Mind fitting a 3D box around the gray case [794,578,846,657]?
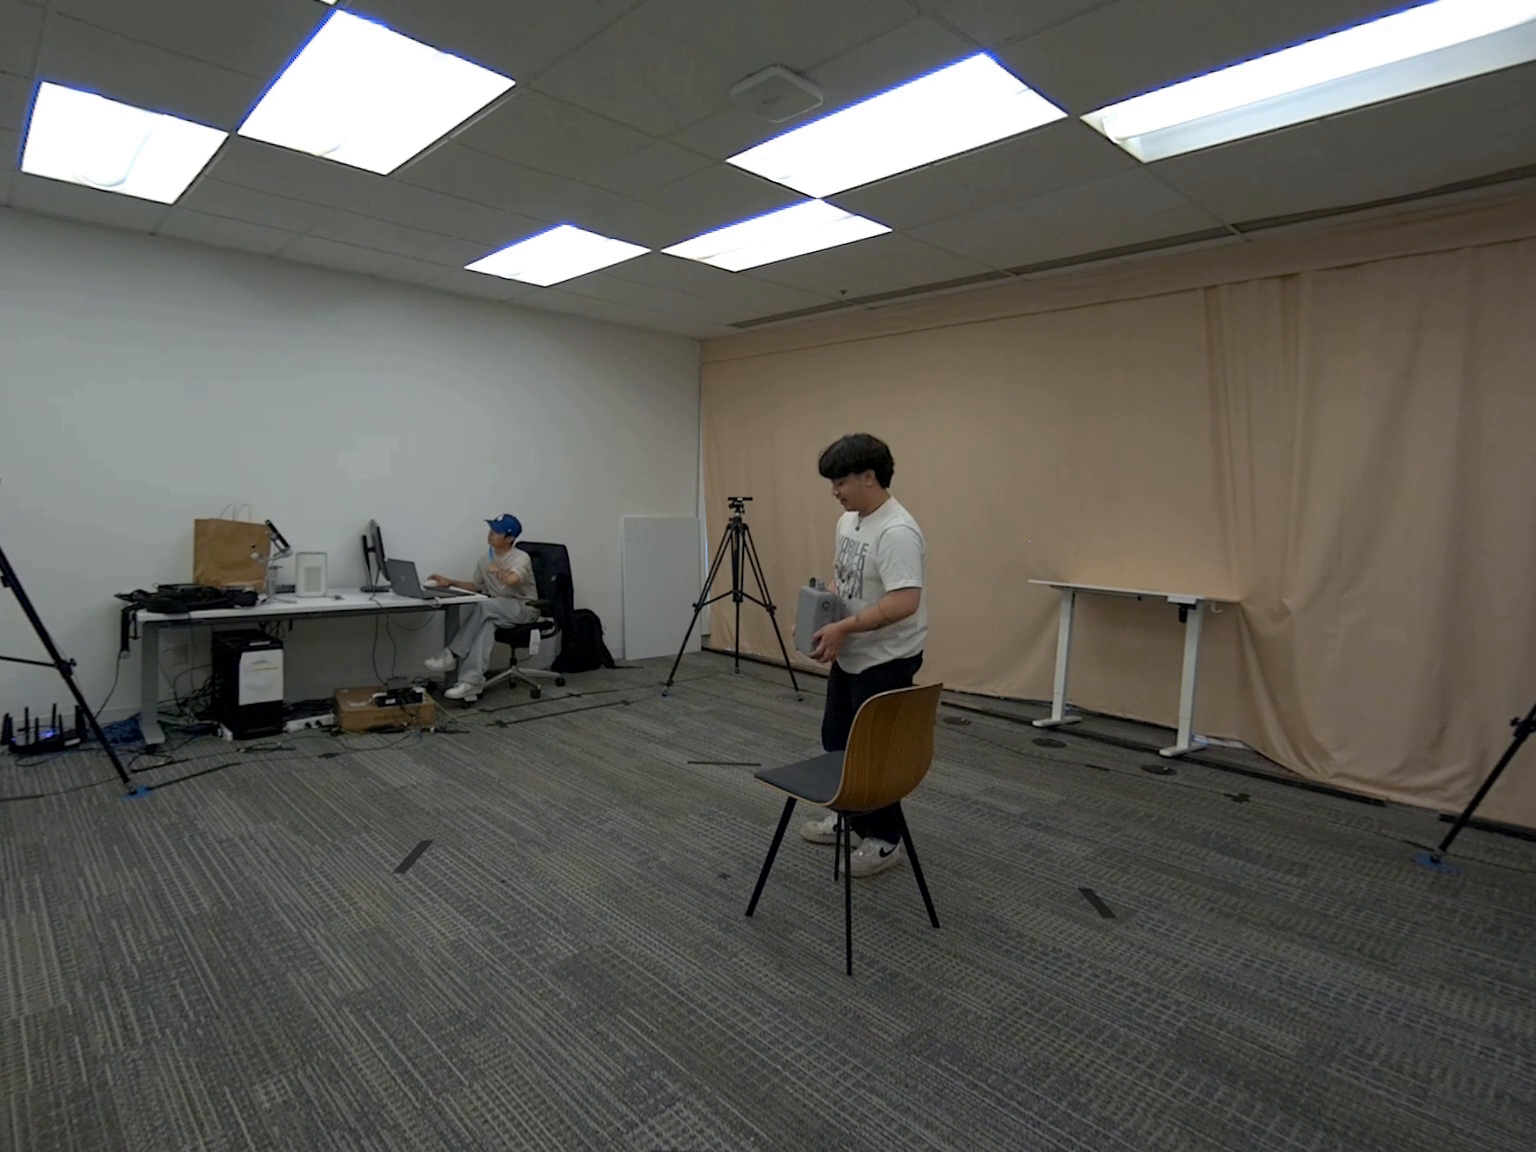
[{"bbox_3d":[0.175,0.167,3.169,0.103,0.260,0.261,4,3,-17],"label":"gray case"}]
